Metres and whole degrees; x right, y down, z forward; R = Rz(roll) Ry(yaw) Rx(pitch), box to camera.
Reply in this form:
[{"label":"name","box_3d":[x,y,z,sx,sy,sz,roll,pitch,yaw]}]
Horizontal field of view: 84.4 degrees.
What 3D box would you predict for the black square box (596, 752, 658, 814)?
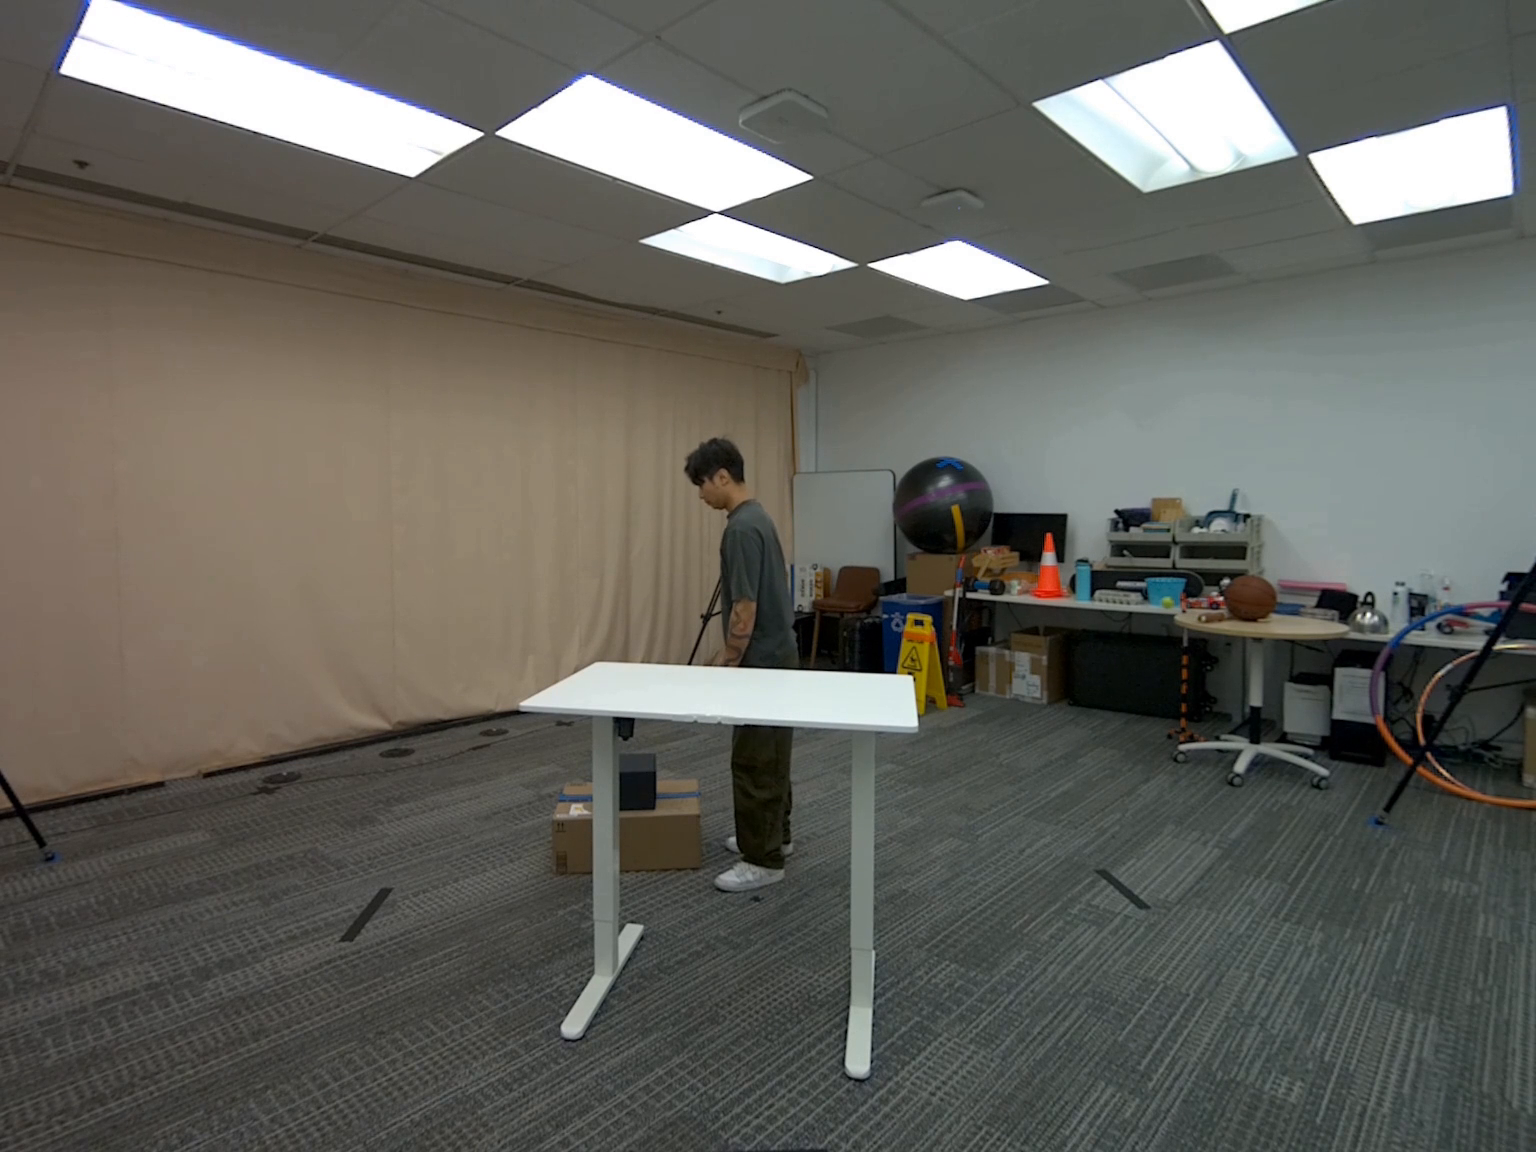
[{"label":"black square box","box_3d":[-0.559,0.817,3.370,0.227,0.155,0.219,-2,6,-6]}]
